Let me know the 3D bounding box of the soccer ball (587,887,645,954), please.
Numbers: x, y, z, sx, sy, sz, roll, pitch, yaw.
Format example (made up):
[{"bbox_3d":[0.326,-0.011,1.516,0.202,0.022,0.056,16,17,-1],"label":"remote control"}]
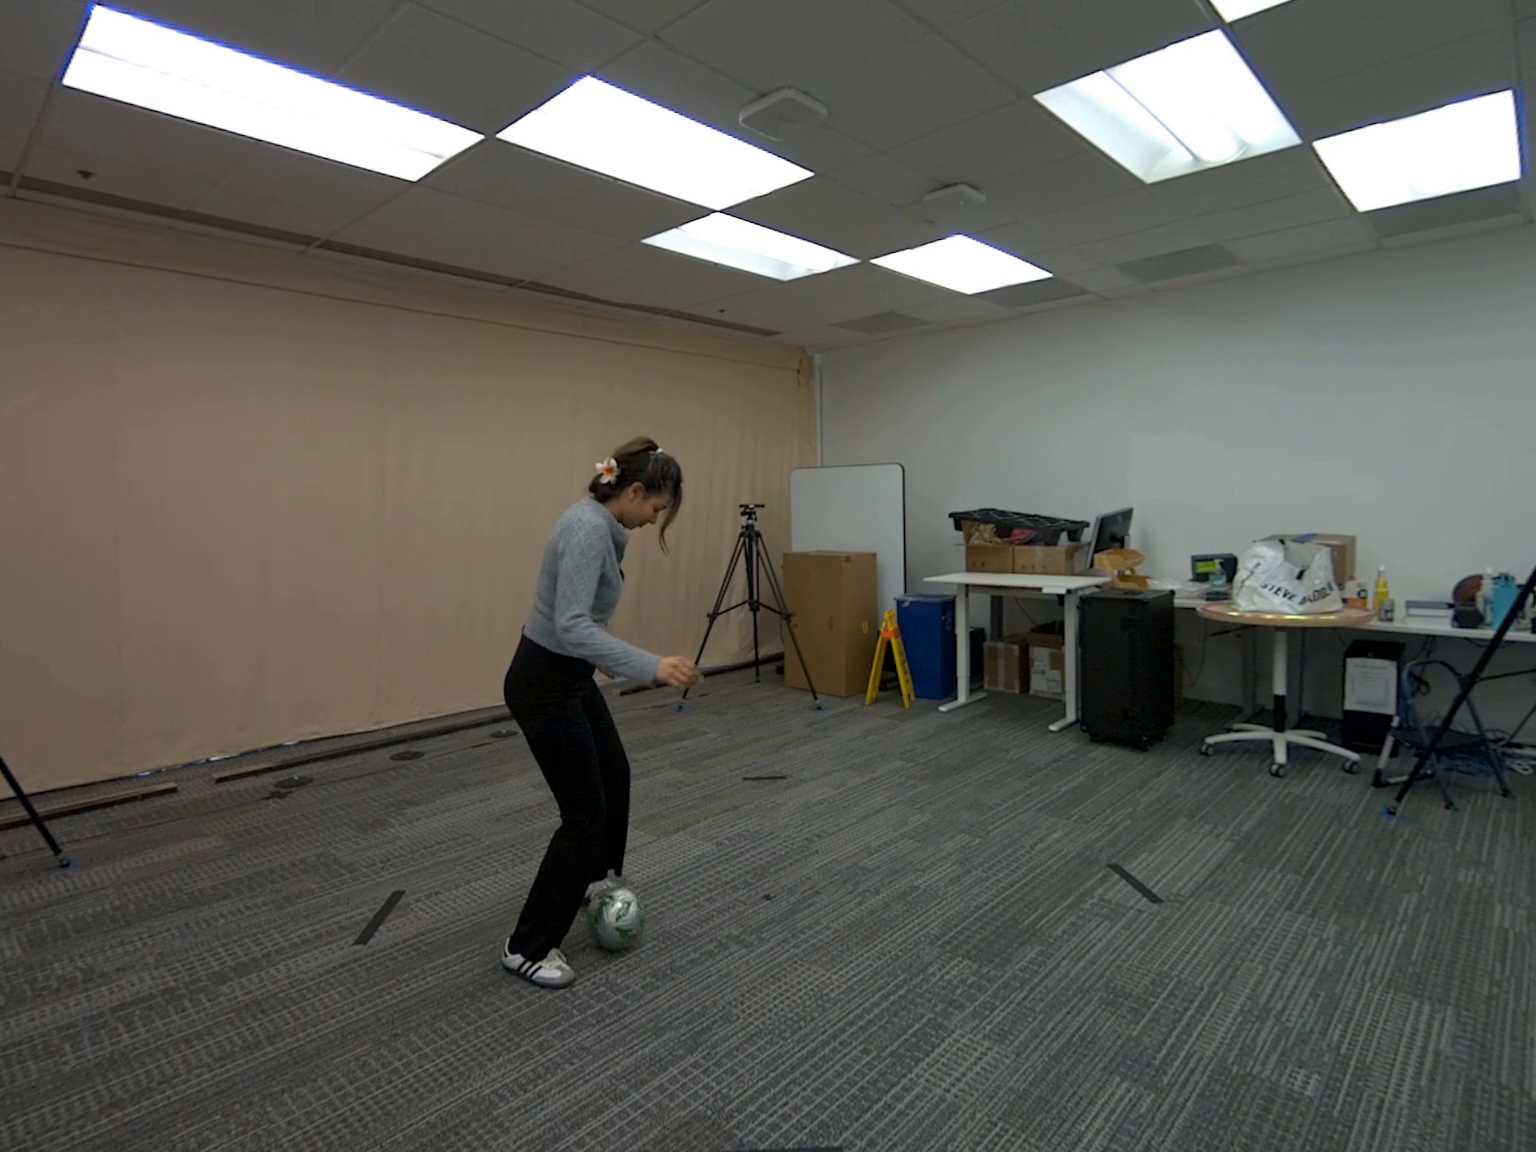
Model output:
[{"bbox_3d":[-0.482,1.084,2.659,0.187,0.187,0.188,-1,4,-2],"label":"soccer ball"}]
